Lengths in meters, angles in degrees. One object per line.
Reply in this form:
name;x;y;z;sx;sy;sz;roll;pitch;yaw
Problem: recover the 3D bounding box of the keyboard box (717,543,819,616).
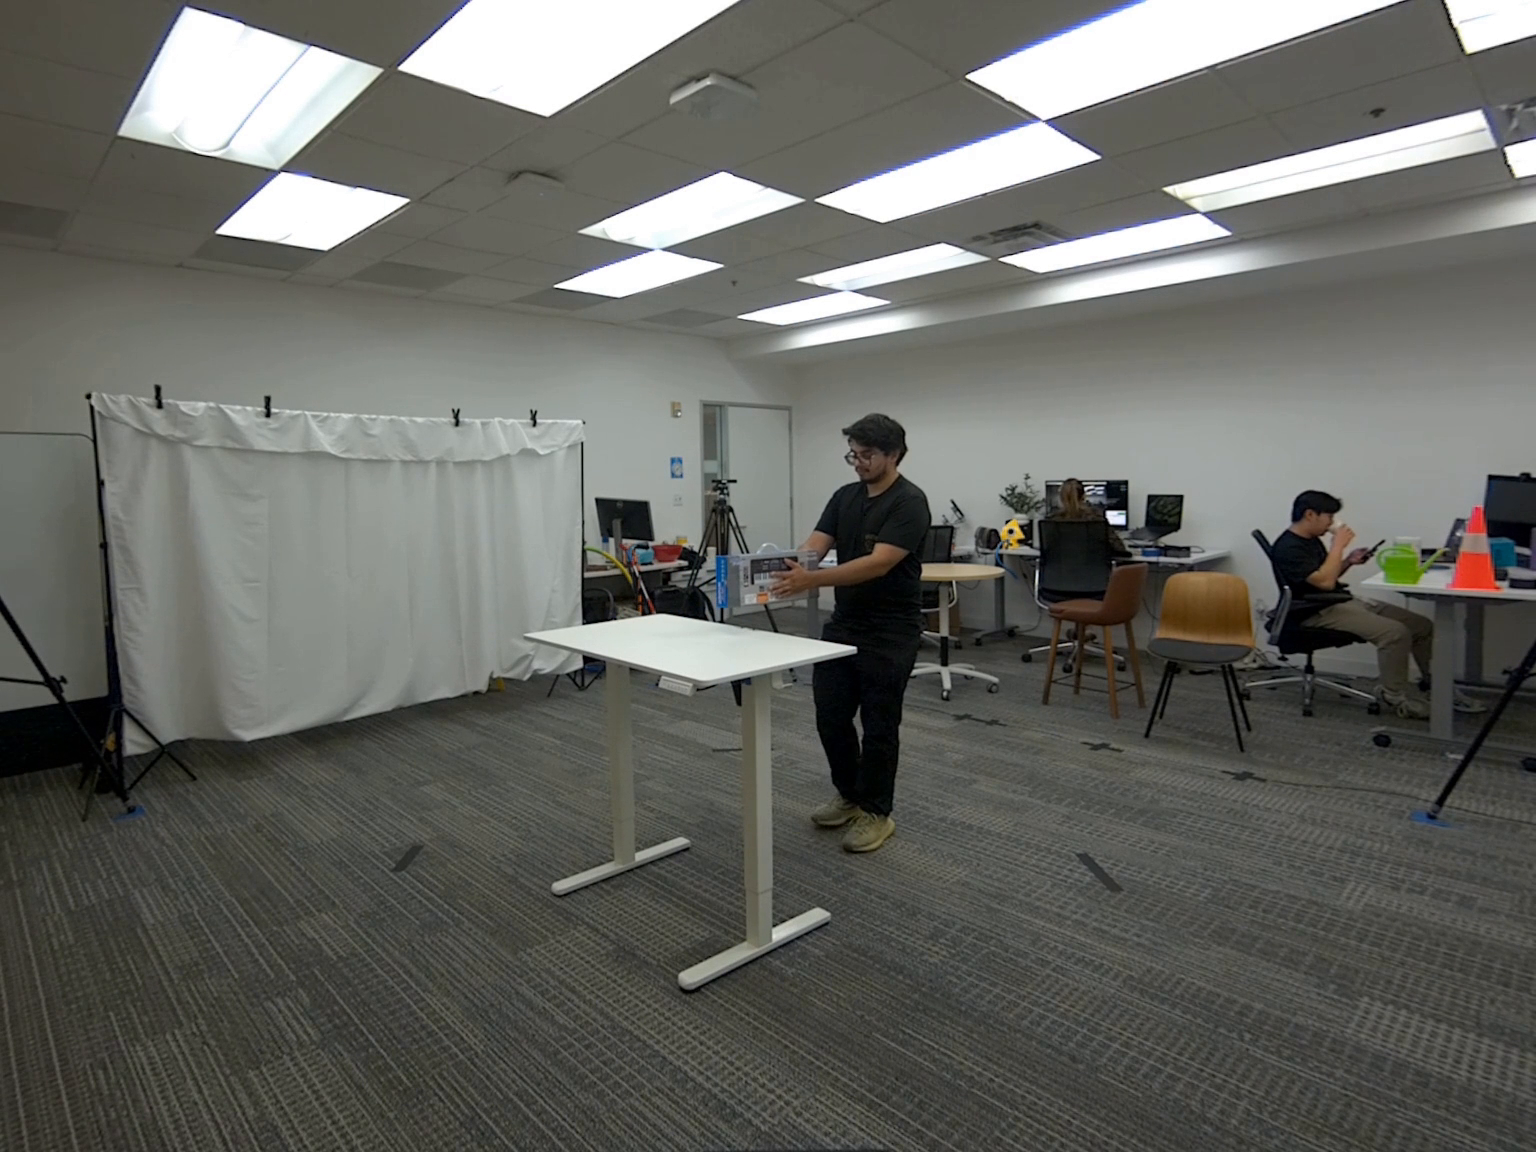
keyboard box;0.004;0.010;2.964;0.425;0.175;0.061;-5;4;-41
